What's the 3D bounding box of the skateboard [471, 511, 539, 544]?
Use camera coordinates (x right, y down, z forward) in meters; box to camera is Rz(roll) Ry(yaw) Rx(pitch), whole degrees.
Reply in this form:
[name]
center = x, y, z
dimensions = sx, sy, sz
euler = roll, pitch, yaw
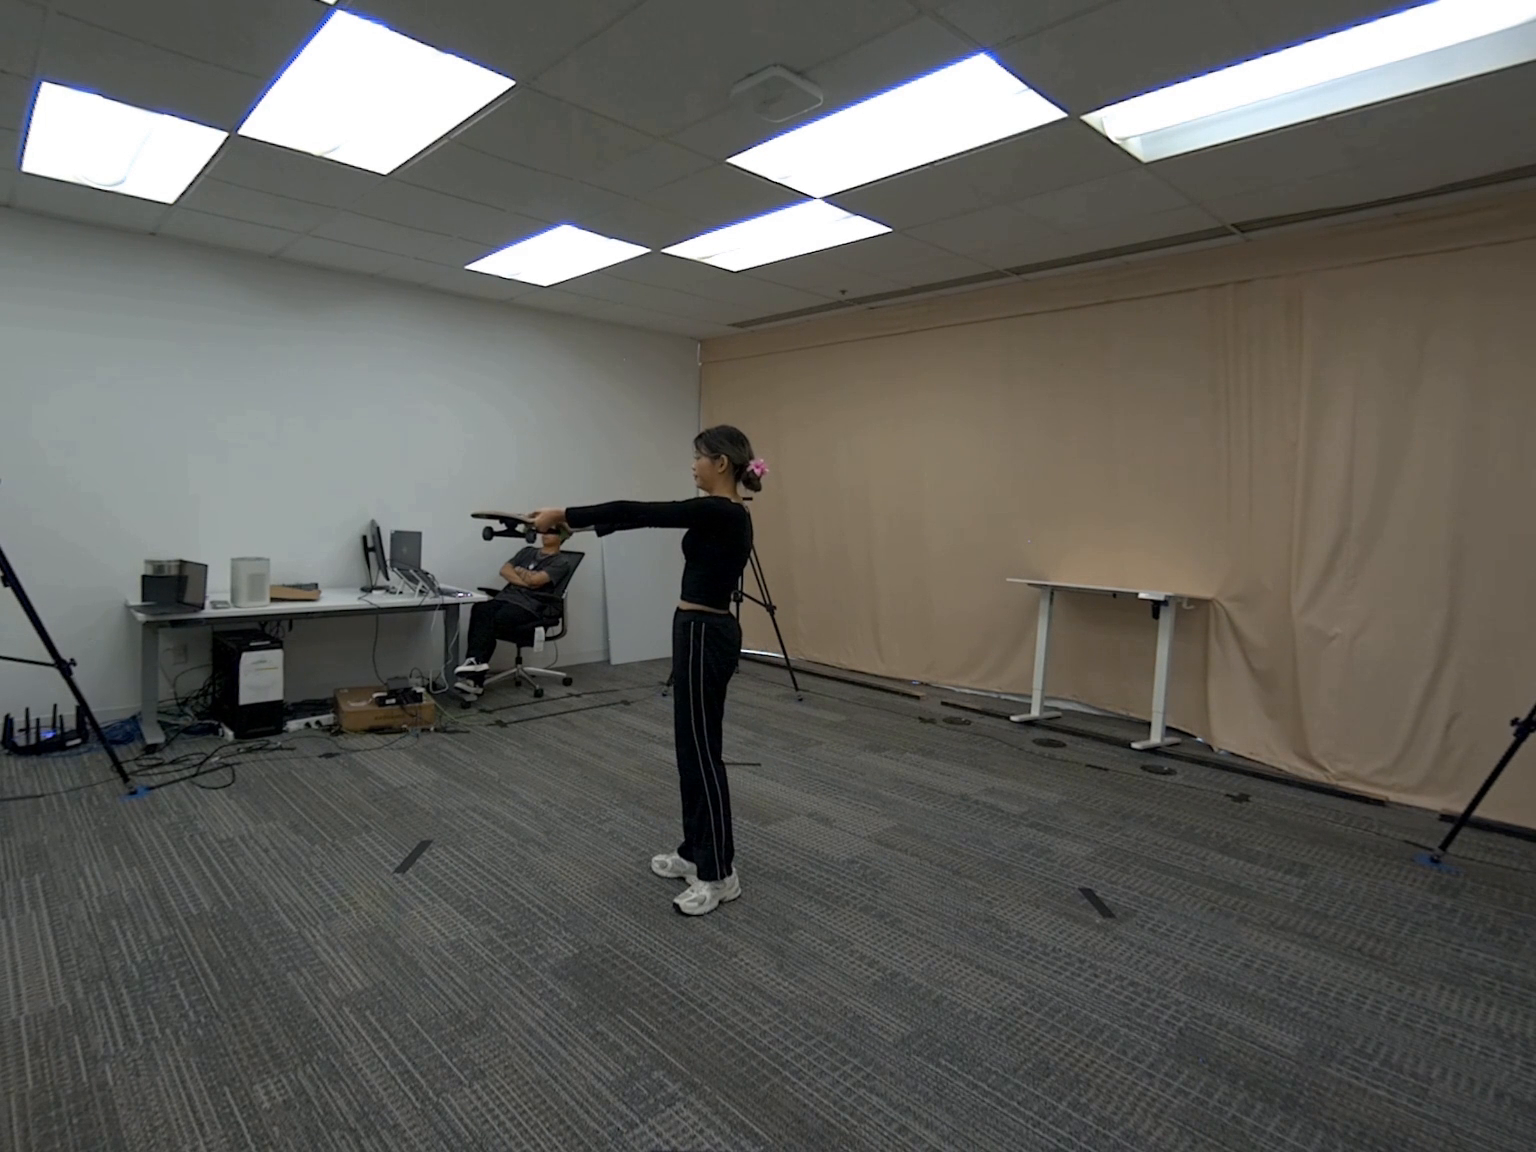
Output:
[skateboard]
center = -0.873, -0.184, 3.086
dimensions = 0.194, 0.110, 0.785
euler = 2, 5, 2
